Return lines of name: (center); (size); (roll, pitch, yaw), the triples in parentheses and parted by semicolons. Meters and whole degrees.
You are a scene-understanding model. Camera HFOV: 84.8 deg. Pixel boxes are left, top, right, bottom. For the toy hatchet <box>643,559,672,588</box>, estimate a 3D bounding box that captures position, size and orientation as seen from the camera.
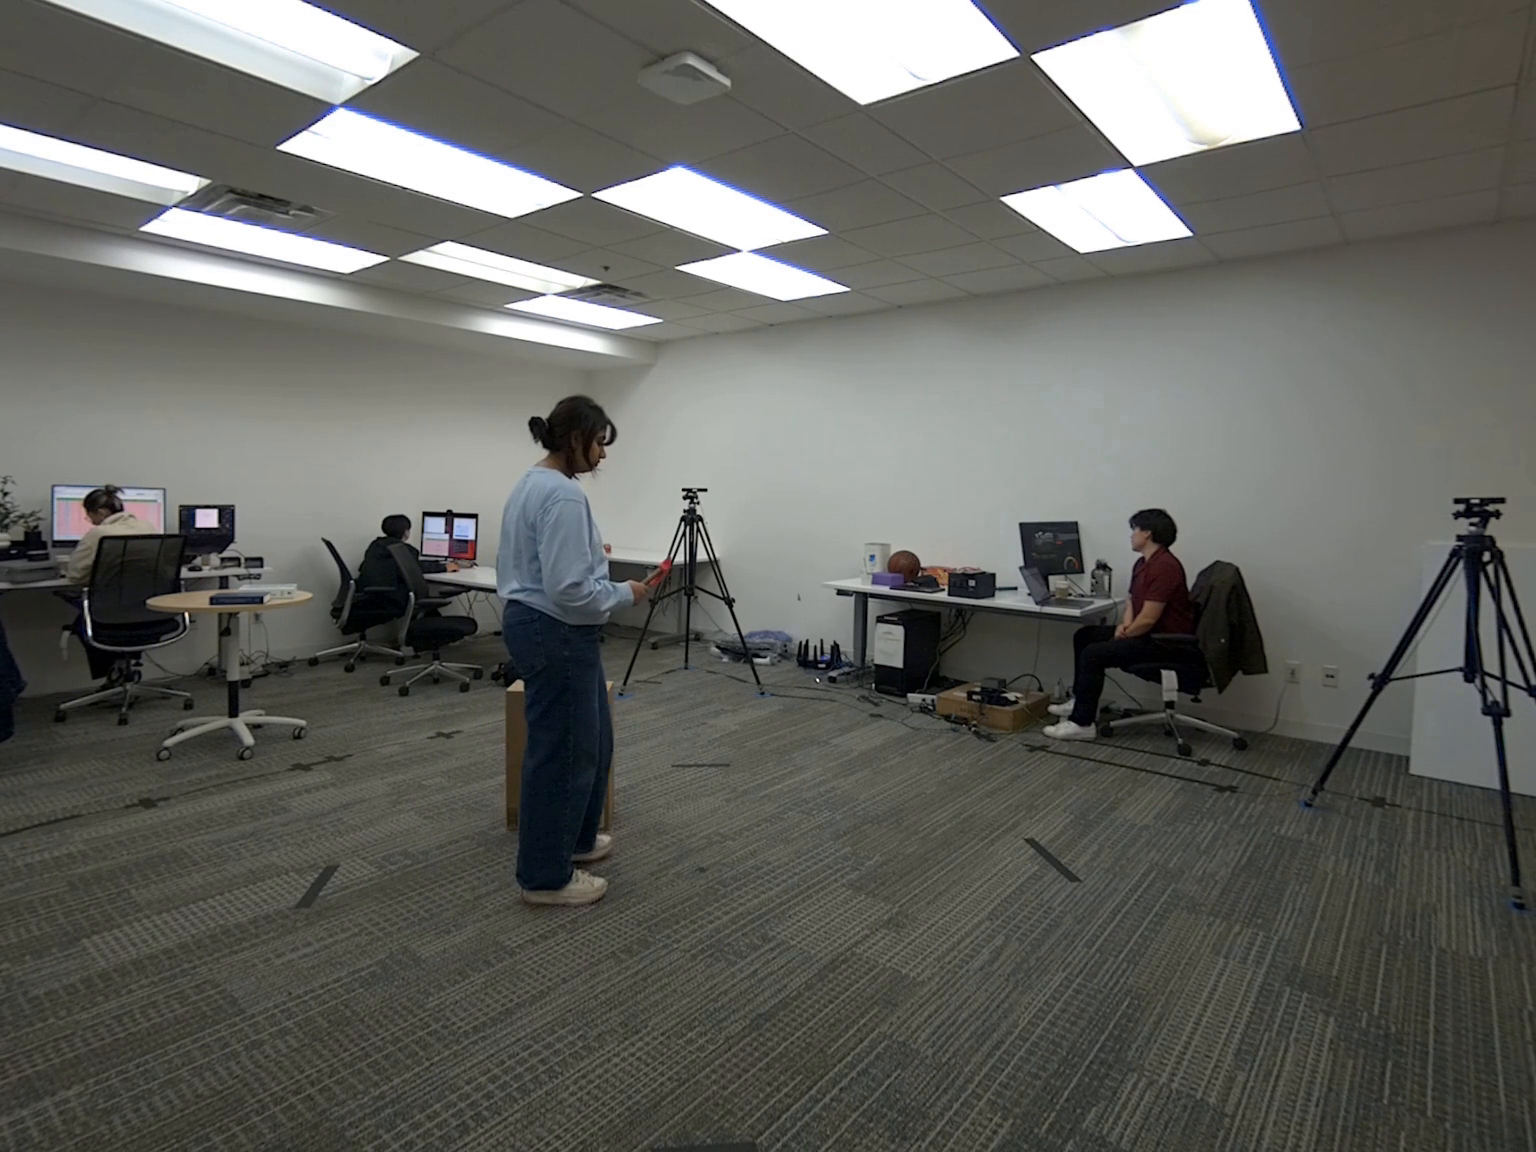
toy hatchet: (-0.437, 0.038, 2.928); (0.030, 0.129, 0.269); (36, 54, 10)
